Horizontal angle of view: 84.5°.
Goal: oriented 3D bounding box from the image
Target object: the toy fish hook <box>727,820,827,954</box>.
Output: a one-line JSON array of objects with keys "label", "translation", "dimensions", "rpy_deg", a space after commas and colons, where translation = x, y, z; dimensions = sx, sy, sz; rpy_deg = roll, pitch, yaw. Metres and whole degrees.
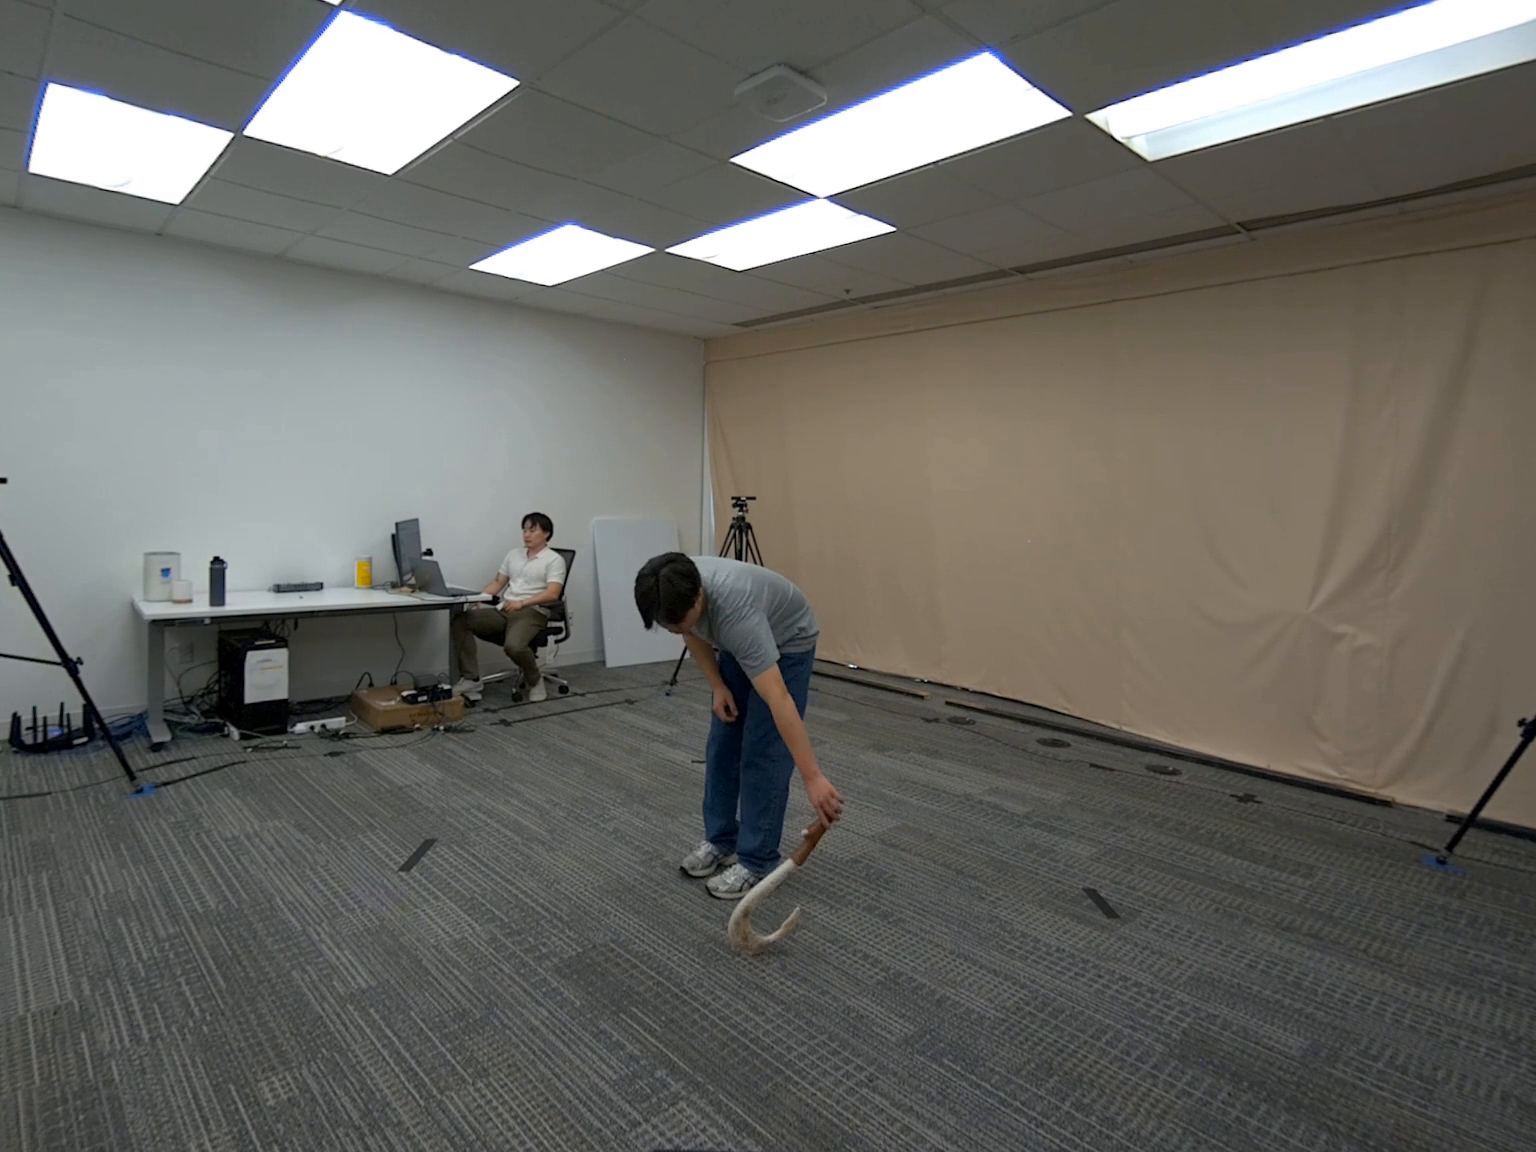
[{"label": "toy fish hook", "translation": [0.068, 0.932, 2.573], "dimensions": [0.218, 0.507, 0.050], "rpy_deg": [41, -5, -32]}]
